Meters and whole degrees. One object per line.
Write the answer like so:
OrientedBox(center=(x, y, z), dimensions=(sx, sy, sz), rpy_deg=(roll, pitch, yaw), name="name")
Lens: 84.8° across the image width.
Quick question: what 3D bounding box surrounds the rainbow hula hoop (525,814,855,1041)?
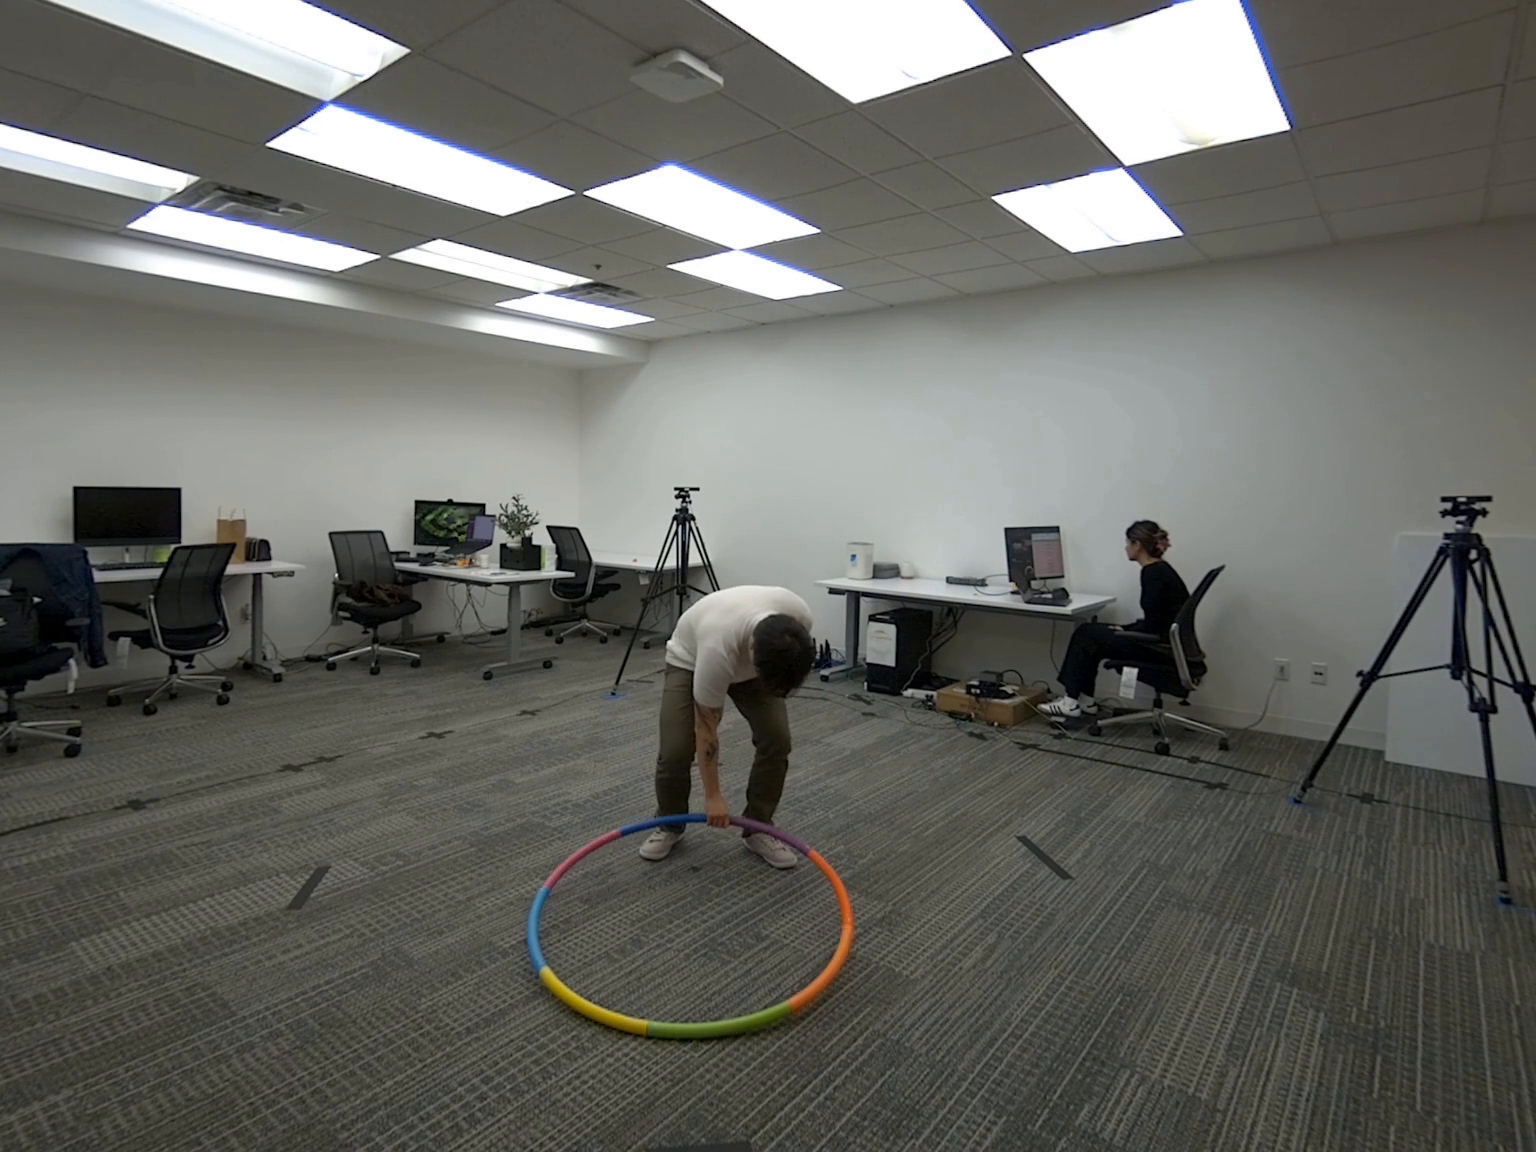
OrientedBox(center=(-0.243, 1.007, 2.601), dimensions=(0.978, 0.035, 0.994), rpy_deg=(-1, 16, -1), name="rainbow hula hoop")
